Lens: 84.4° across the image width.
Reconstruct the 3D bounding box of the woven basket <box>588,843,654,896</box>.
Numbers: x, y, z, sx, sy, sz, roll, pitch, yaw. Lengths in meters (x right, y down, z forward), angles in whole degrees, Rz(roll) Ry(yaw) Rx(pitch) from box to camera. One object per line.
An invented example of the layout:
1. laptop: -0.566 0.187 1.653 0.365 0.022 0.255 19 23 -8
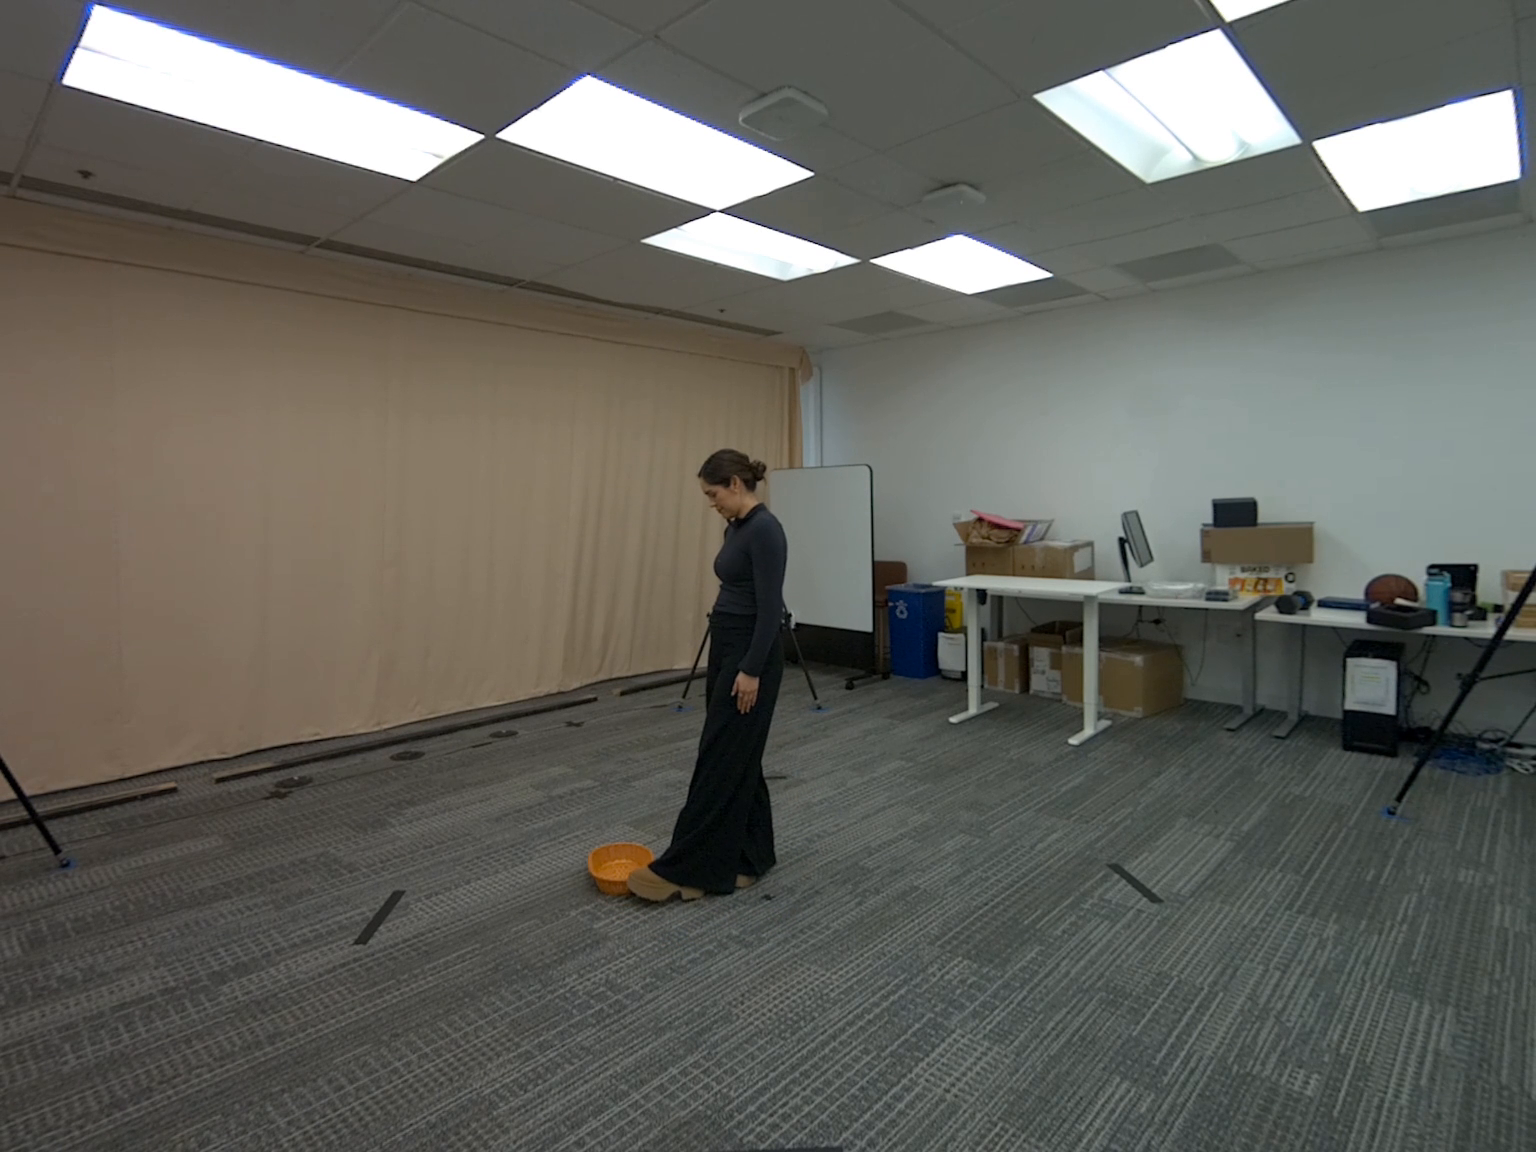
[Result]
1. woven basket: -0.553 1.099 3.162 0.249 0.073 0.355 0 4 -13
